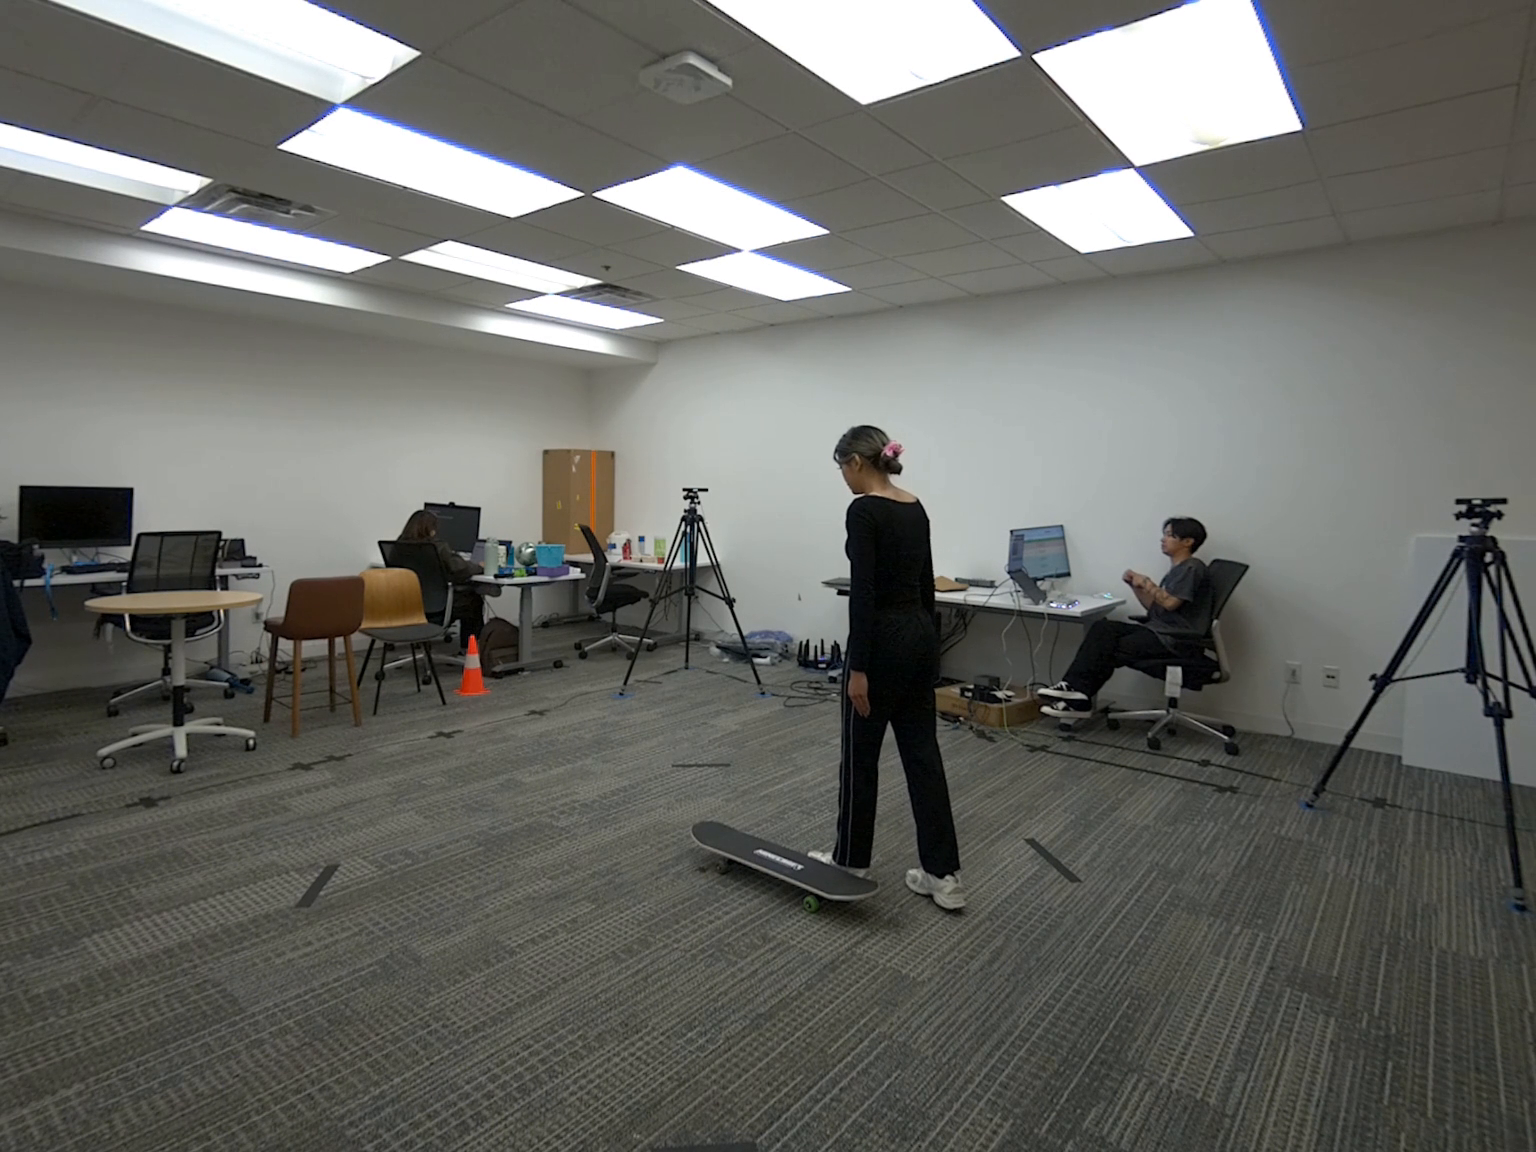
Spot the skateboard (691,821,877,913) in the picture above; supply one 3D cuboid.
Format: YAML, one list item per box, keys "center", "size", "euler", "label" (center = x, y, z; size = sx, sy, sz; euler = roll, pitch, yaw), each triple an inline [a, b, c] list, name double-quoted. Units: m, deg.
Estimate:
- center: [0.031, 1.030, 2.998]
  size: [0.812, 0.110, 0.188]
  euler: [6, 7, 40]
  label: "skateboard"
